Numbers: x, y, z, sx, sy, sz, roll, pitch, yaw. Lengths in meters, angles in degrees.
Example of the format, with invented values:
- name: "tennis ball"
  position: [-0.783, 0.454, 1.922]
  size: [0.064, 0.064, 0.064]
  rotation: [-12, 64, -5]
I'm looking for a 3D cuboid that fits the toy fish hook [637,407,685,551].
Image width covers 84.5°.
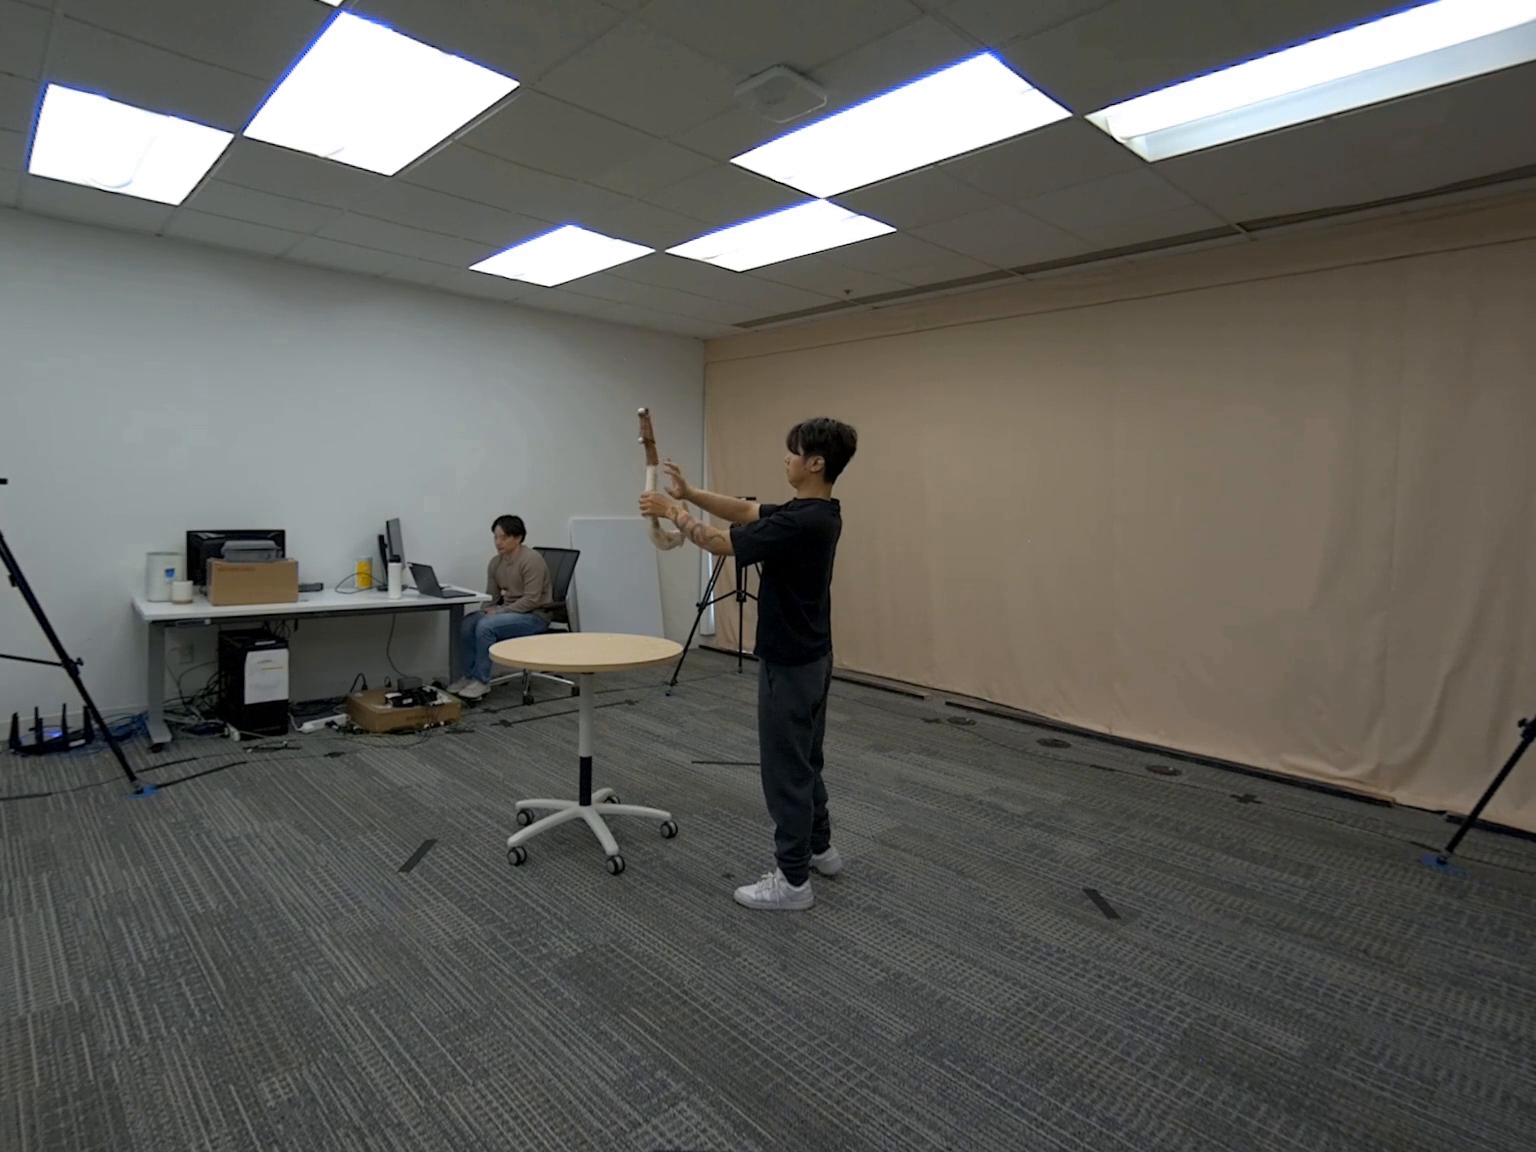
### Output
- name: "toy fish hook"
  position: [-0.375, -0.341, 2.981]
  size: [0.049, 0.503, 0.221]
  rotation: [-1, 9, 31]
